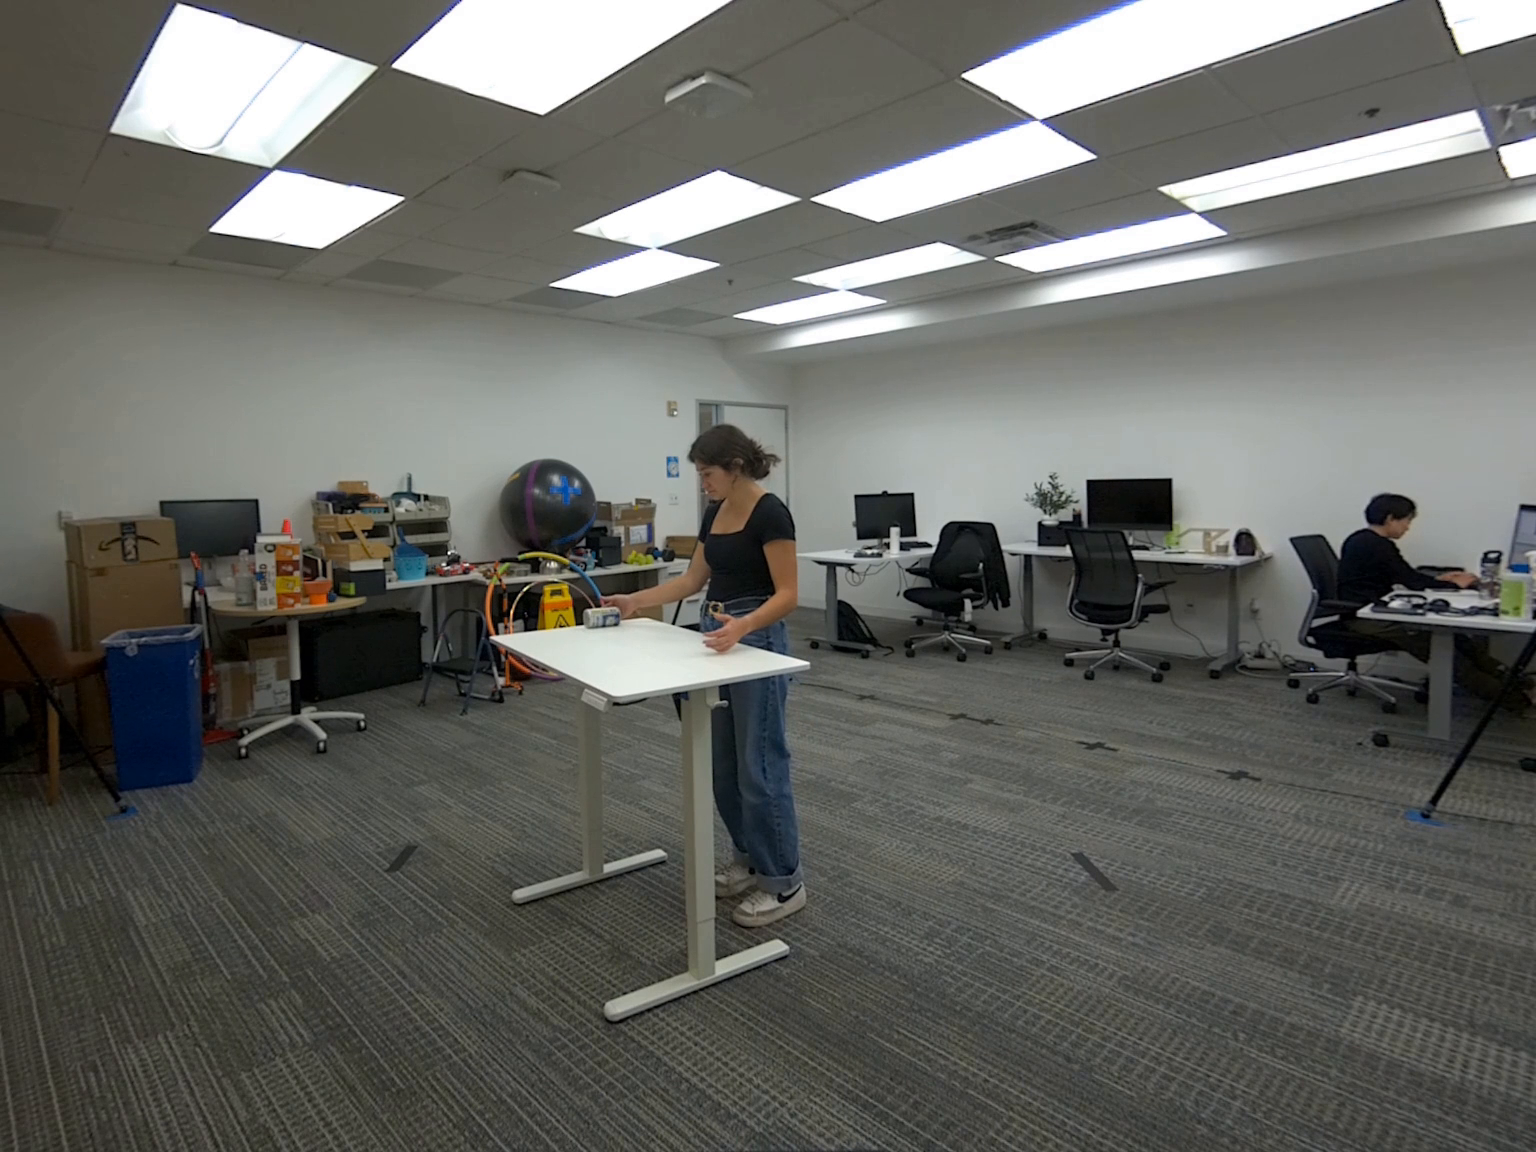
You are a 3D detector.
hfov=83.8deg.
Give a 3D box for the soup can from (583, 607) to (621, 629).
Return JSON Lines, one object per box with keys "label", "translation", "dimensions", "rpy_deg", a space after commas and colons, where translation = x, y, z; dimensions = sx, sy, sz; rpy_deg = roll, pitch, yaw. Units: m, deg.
{"label": "soup can", "translation": [-0.590, 0.146, 3.038], "dimensions": [0.120, 0.067, 0.068], "rpy_deg": [-4, 5, -16]}
